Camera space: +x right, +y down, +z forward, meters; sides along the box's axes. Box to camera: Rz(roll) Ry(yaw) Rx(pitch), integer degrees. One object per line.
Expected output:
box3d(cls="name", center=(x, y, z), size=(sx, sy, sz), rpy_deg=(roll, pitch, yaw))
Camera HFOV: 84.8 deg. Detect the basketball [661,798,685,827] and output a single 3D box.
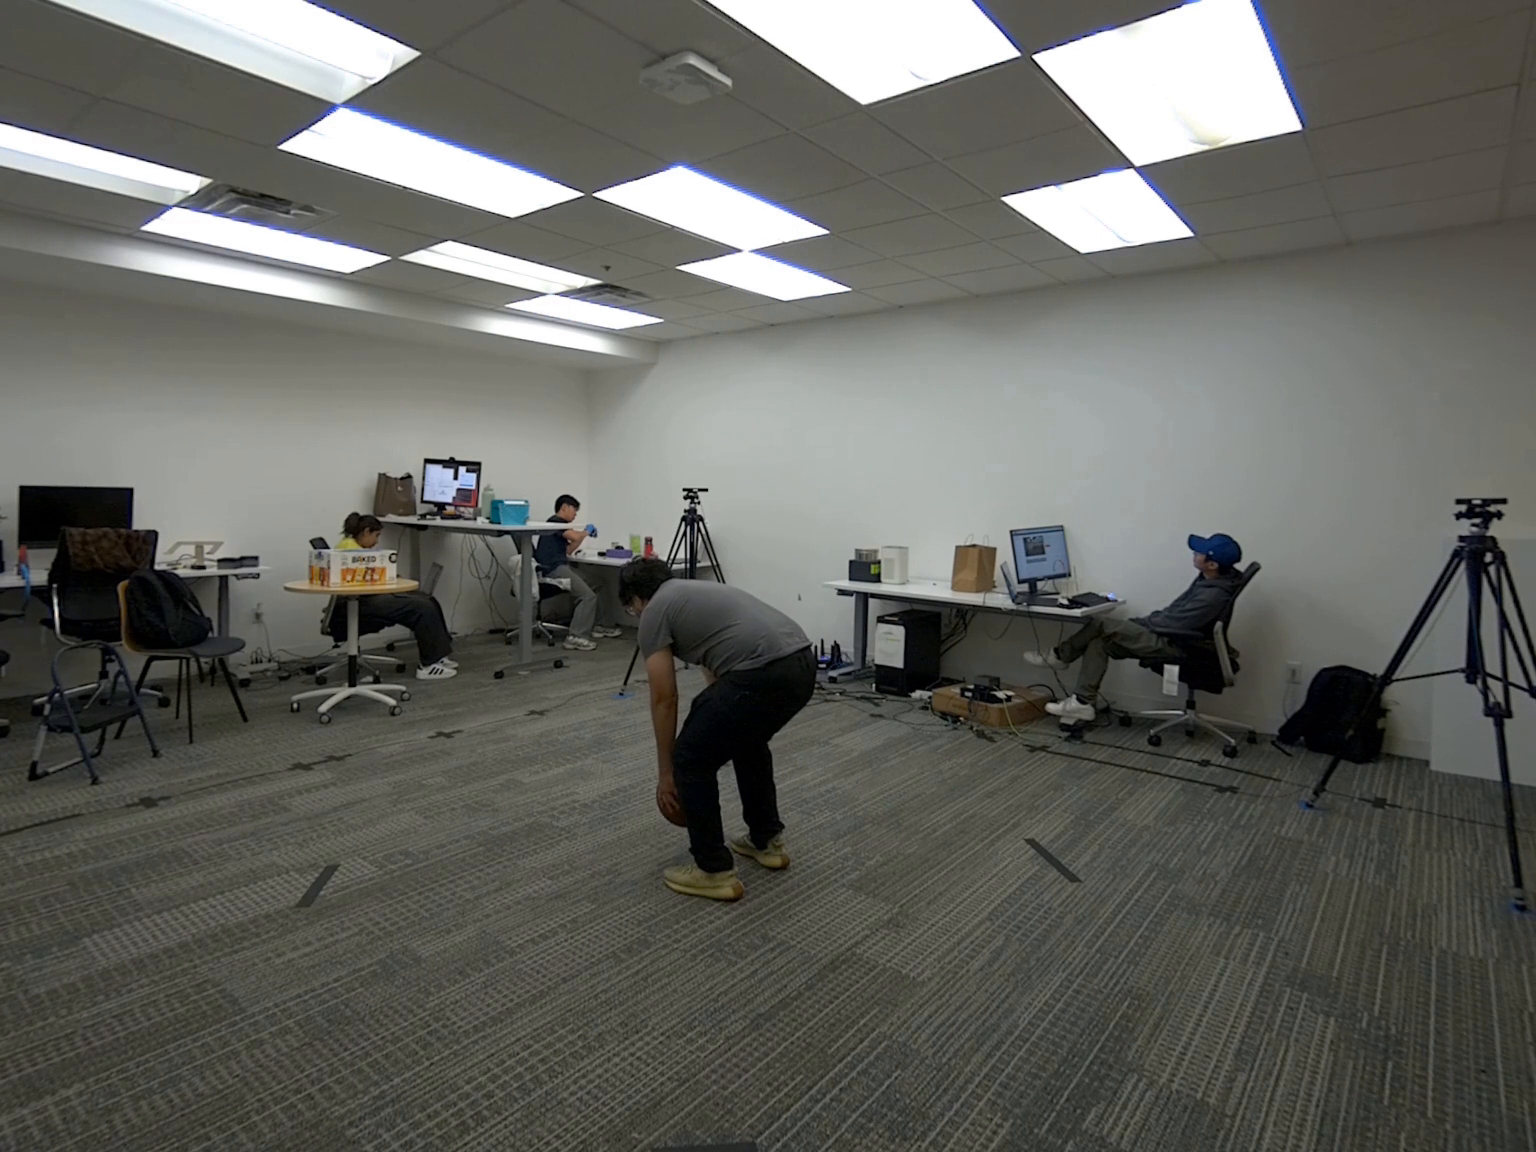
box3d(cls="basketball", center=(-0.312, 0.807, 3.210), size=(0.235, 0.235, 0.237), rpy_deg=(1, 4, -2))
